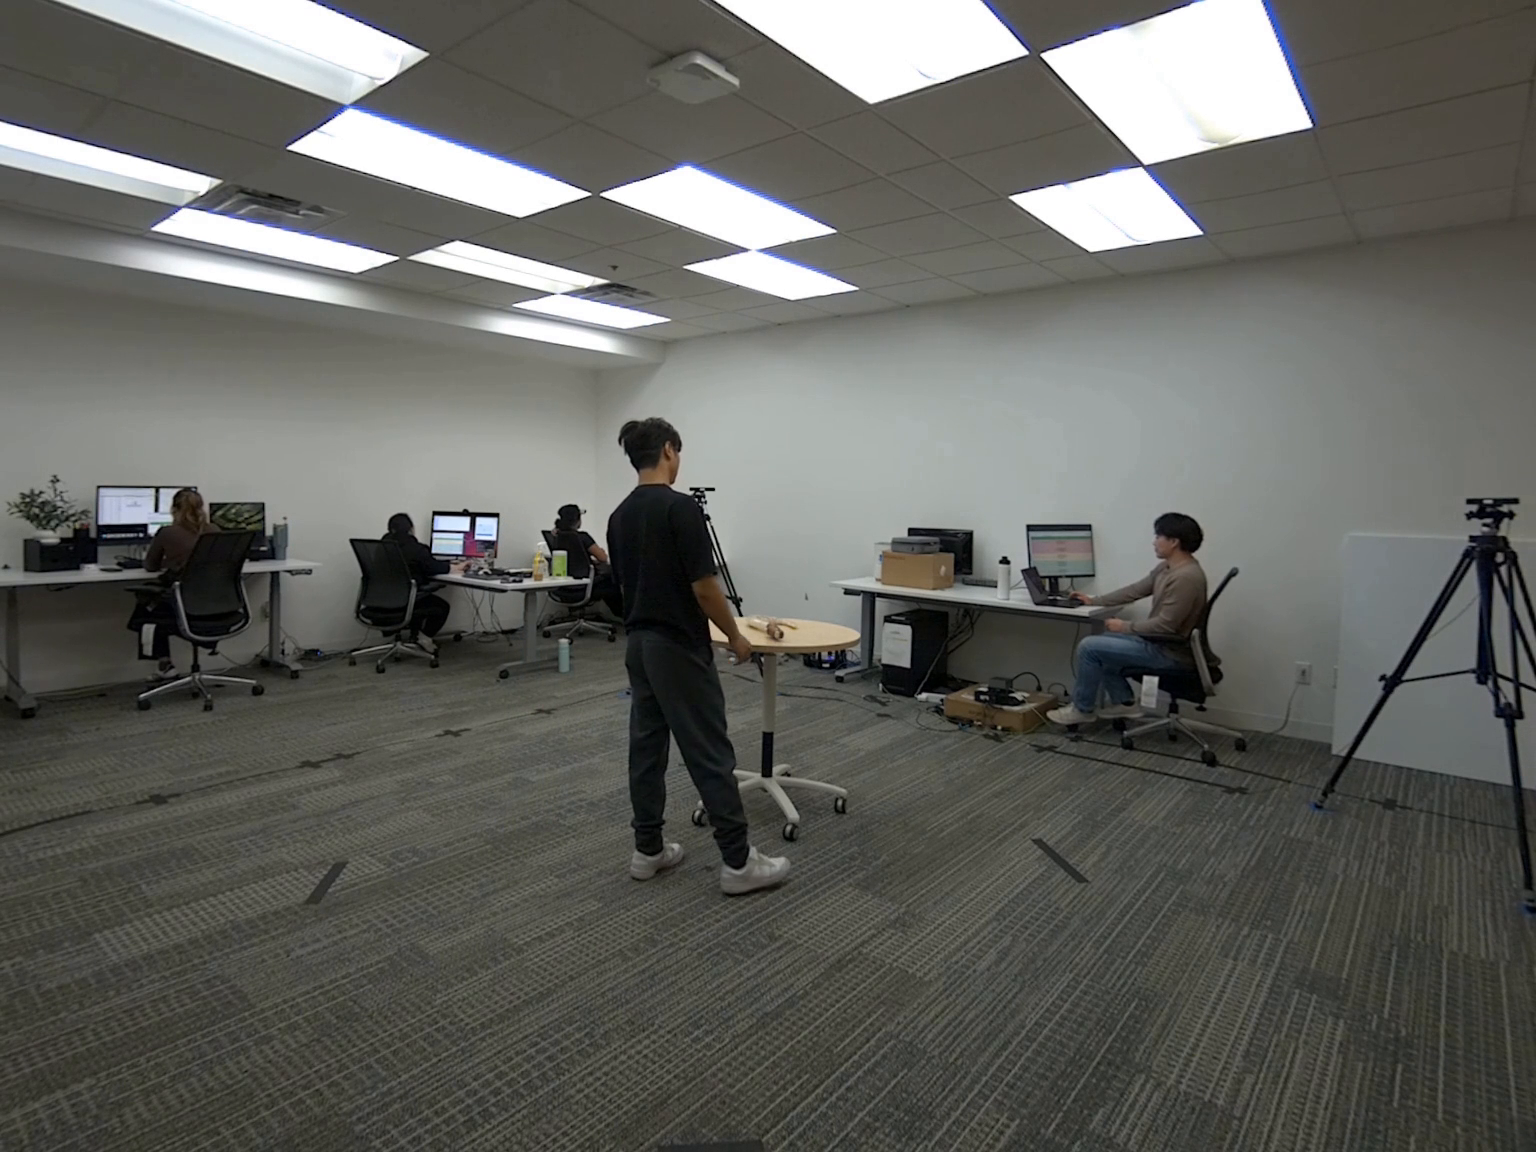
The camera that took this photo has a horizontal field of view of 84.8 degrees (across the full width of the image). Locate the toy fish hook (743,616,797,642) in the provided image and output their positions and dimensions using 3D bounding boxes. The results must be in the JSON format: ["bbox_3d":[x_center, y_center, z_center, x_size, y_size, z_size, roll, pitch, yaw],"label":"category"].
[{"bbox_3d":[0.040,0.211,3.654,0.222,0.048,0.514,-1,5,-11],"label":"toy fish hook"}]
